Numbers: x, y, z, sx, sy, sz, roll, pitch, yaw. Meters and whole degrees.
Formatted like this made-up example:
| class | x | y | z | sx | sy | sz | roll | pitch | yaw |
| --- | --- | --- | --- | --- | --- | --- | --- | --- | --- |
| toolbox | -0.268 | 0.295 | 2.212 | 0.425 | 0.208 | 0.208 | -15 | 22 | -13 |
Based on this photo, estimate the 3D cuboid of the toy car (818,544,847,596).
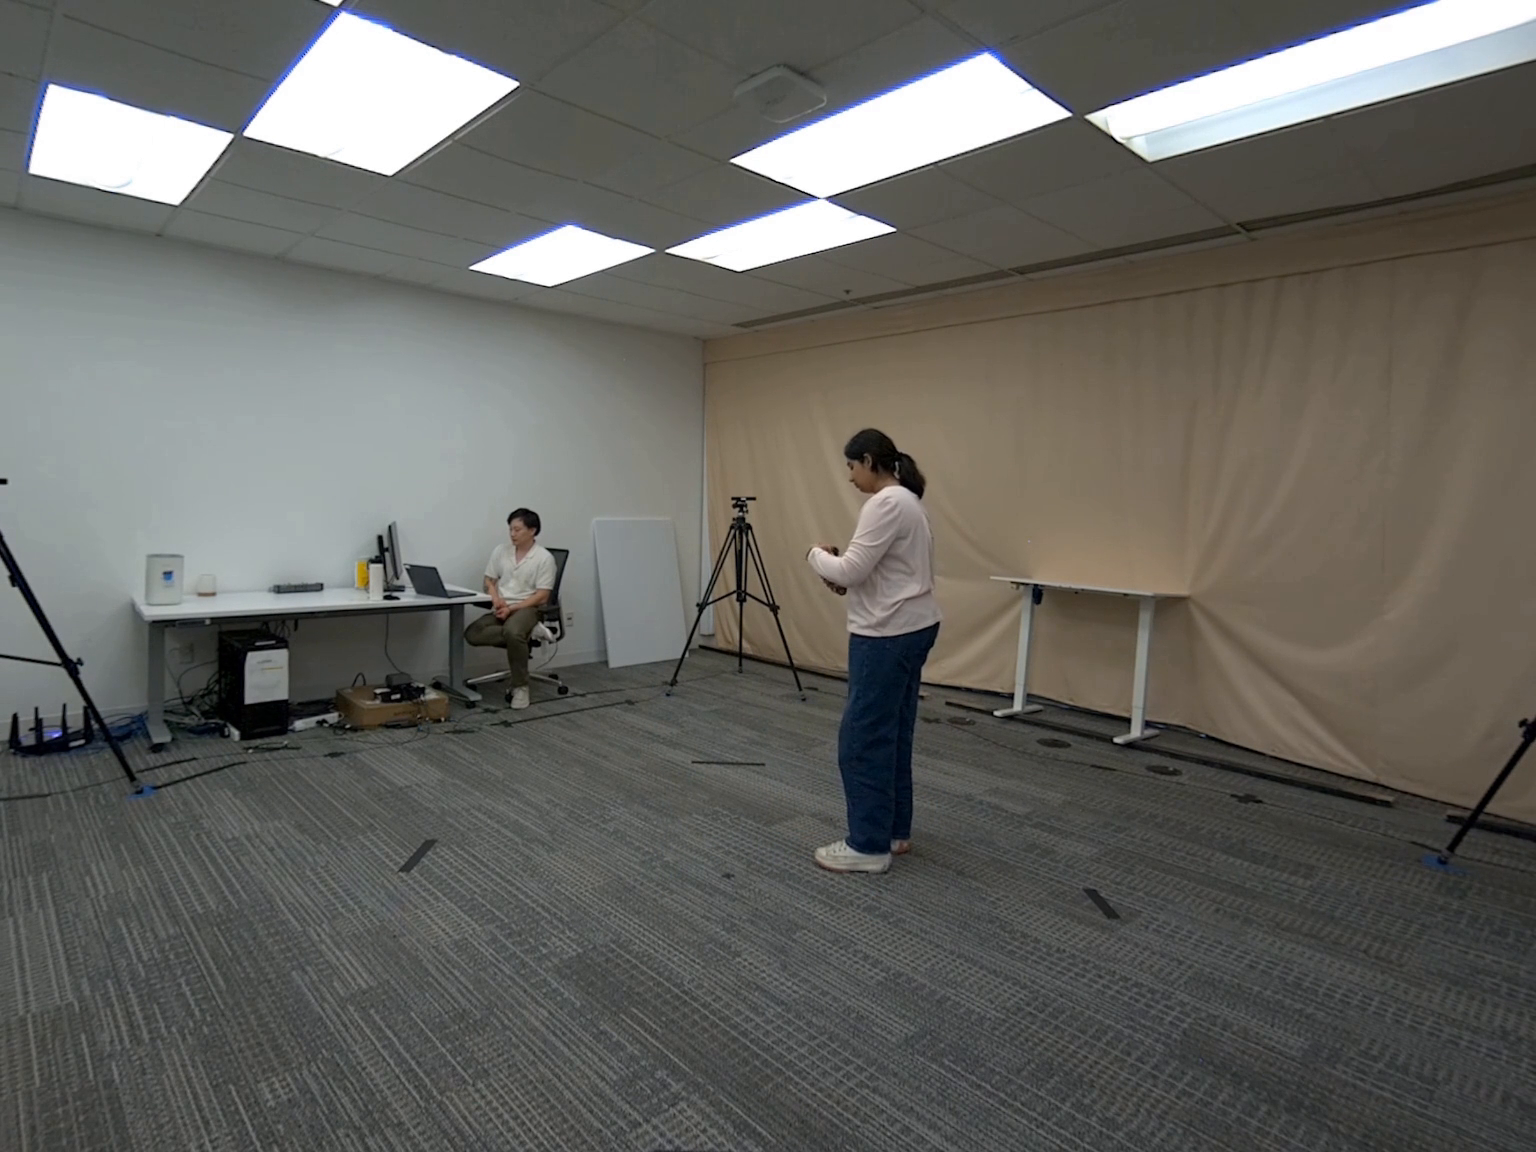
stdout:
| class | x | y | z | sx | sy | sz | roll | pitch | yaw |
| --- | --- | --- | --- | --- | --- | --- | --- | --- | --- |
| toy car | 0.254 | -0.030 | 3.447 | 0.084 | 0.132 | 0.248 | -18 | -51 | 41 |
